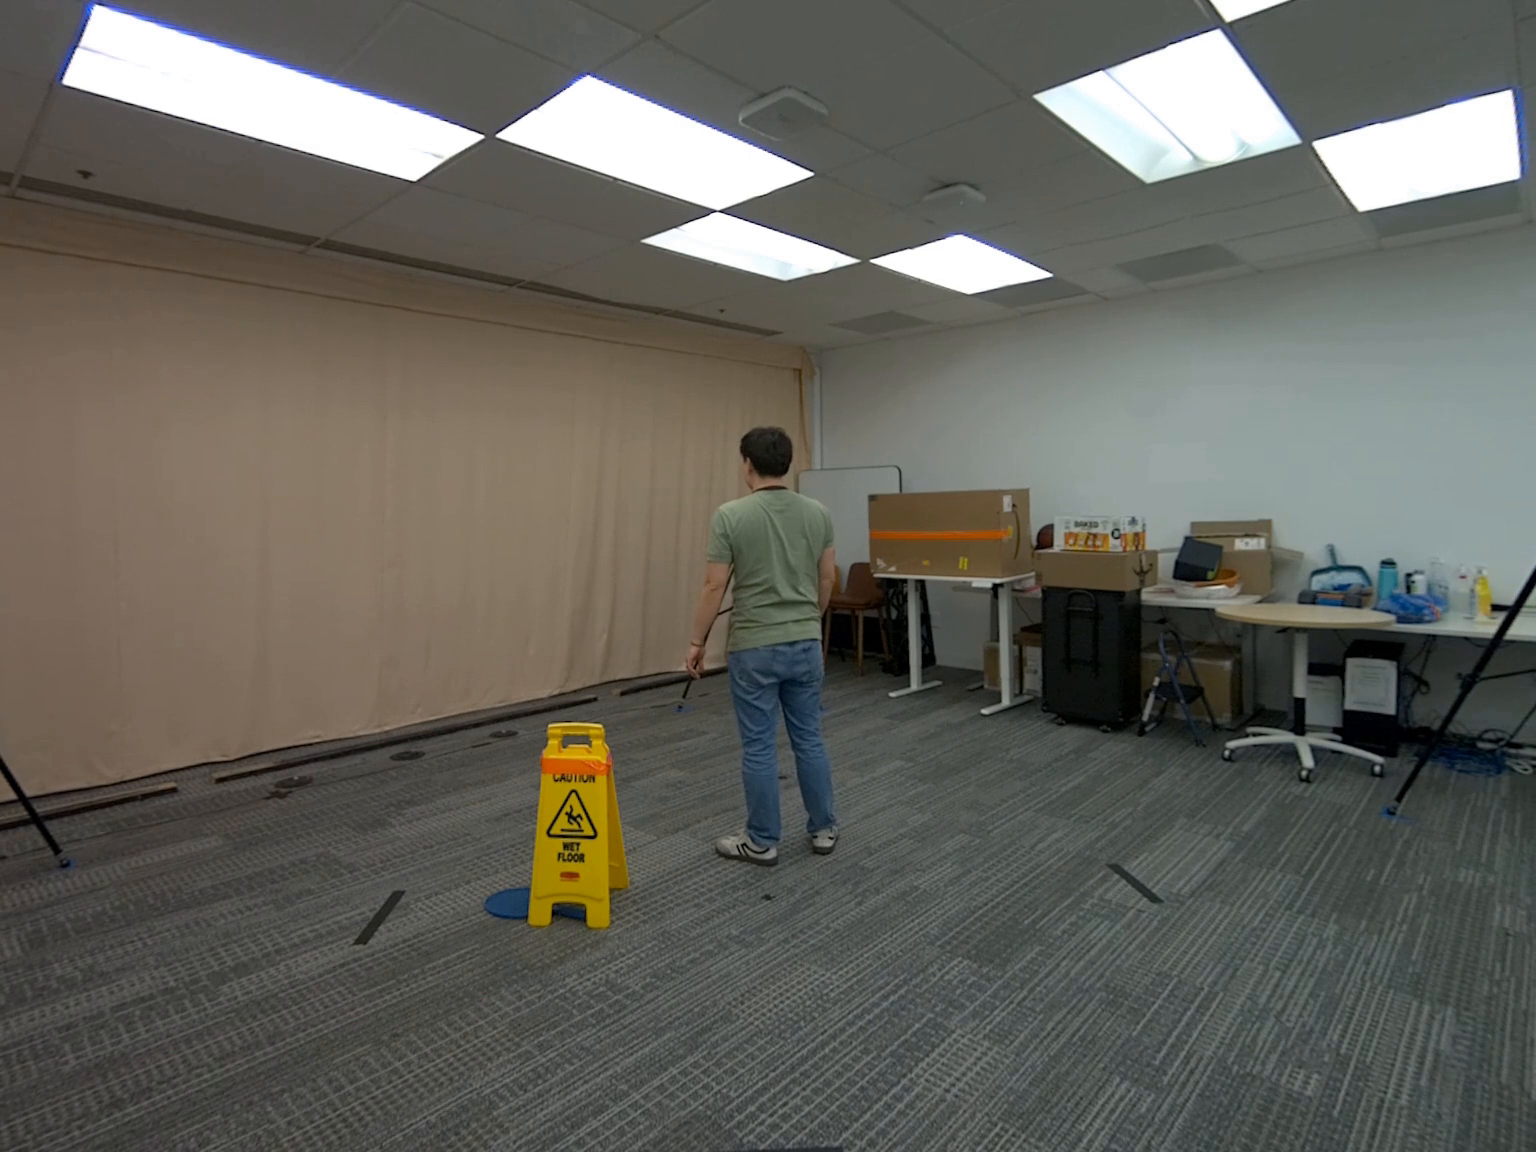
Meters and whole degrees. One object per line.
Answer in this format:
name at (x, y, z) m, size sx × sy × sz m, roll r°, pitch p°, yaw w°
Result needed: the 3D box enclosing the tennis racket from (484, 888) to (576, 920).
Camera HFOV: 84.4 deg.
tennis racket at (-0.940, 1.154, 3.001) m, size 0.446 × 0.032 × 0.207 m, roll 0°, pitch 3°, yaw 34°
